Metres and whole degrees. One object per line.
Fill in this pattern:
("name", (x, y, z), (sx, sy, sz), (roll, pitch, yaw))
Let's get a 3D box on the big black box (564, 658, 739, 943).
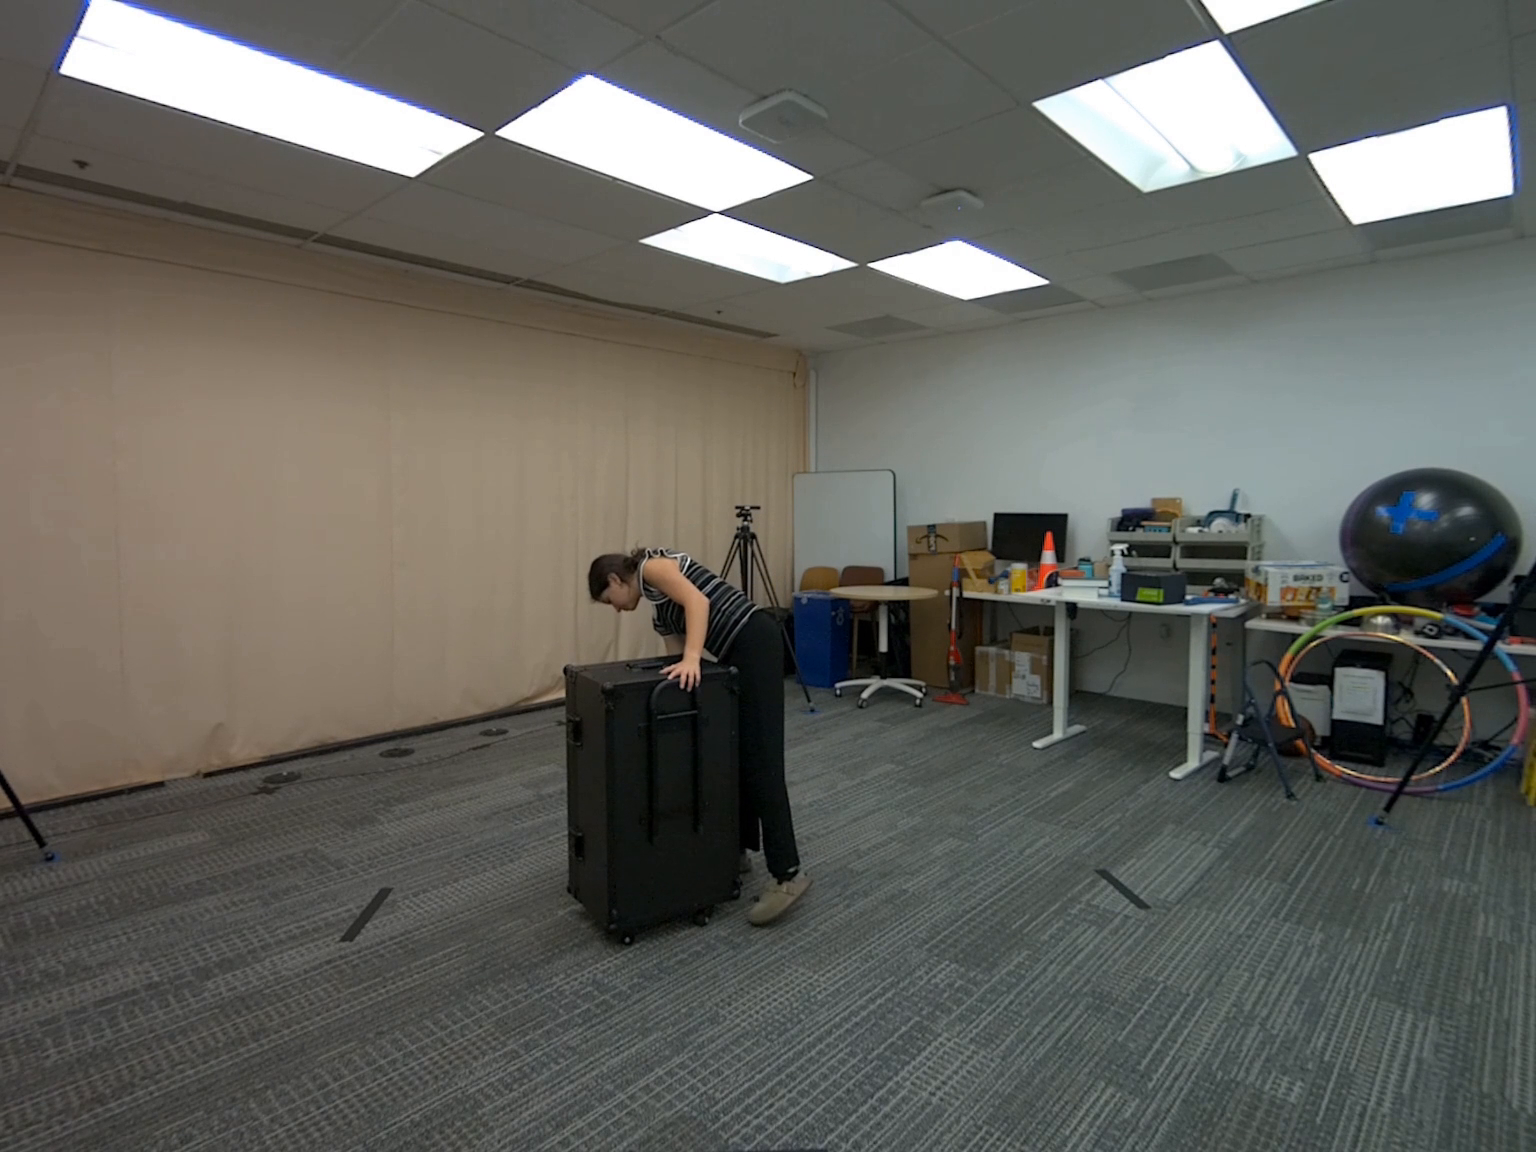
("big black box", (-0.388, 0.736, 2.834), (0.507, 0.859, 0.408), (-2, 4, -31))
